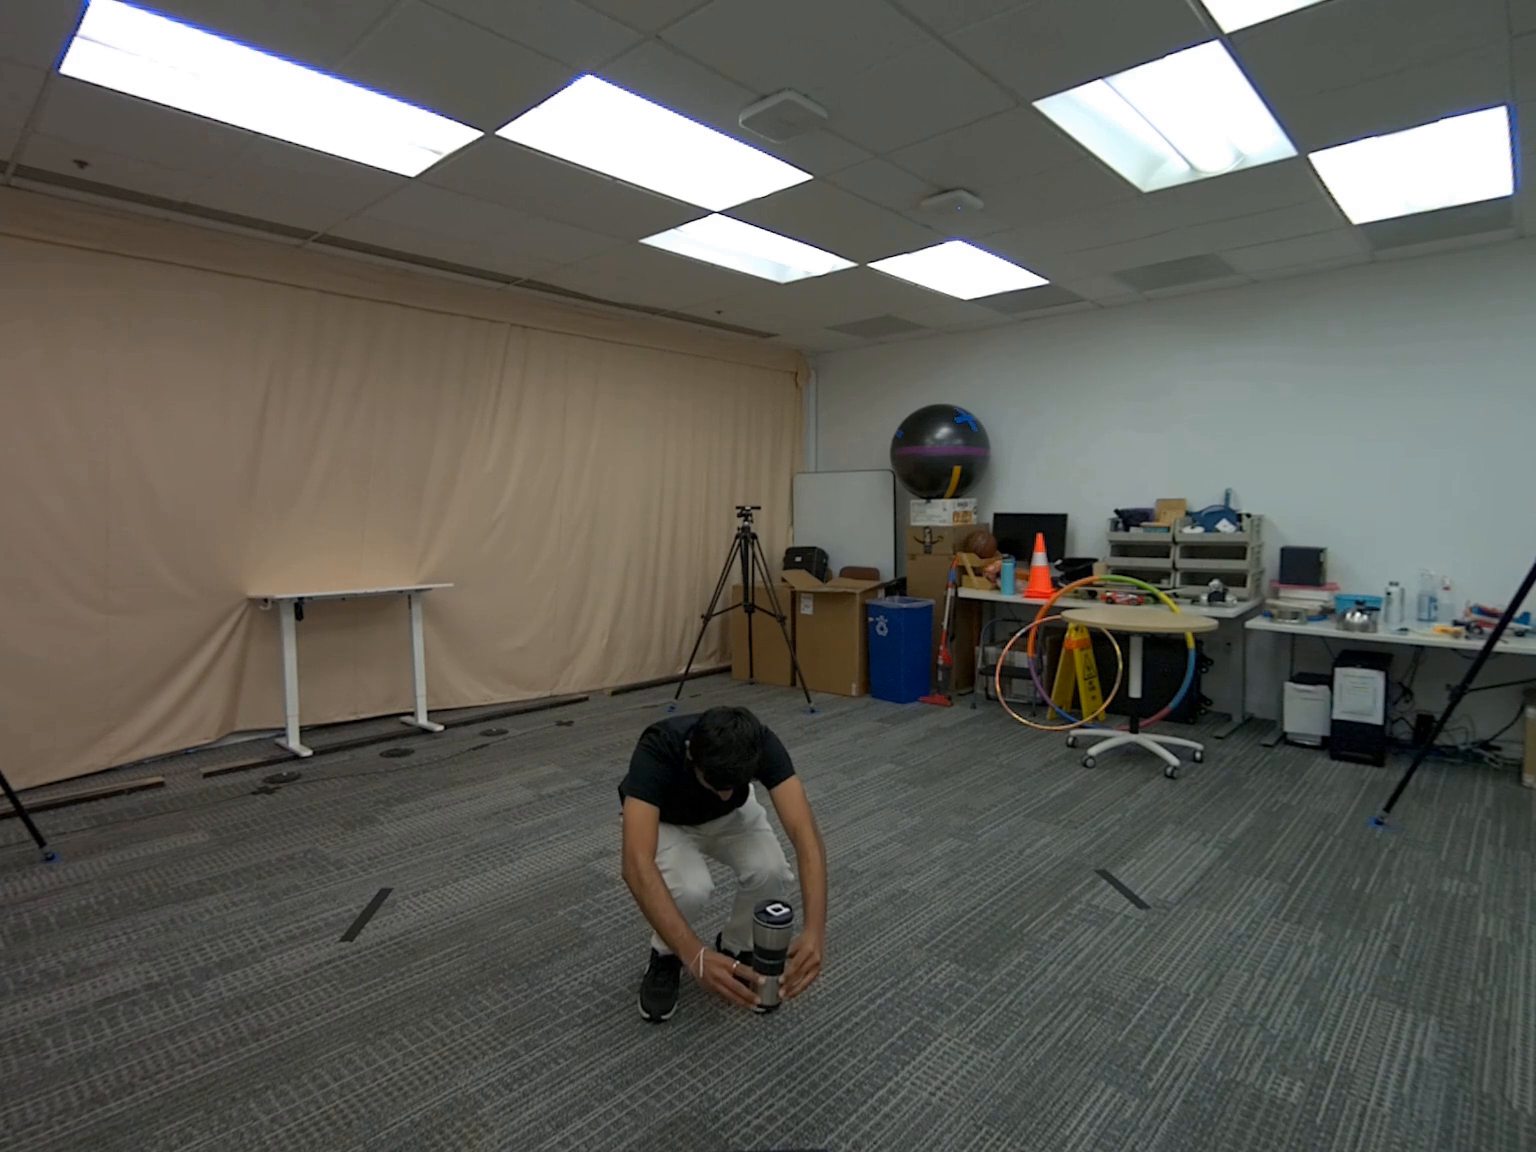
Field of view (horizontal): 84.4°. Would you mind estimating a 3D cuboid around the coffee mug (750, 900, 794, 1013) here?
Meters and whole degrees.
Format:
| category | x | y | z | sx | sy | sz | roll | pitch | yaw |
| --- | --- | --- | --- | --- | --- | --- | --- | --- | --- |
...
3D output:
| category | x | y | z | sx | sy | sz | roll | pitch | yaw |
| --- | --- | --- | --- | --- | --- | --- | --- | --- | --- |
| coffee mug | 0.019 | 0.803 | 1.818 | 0.091 | 0.202 | 0.118 | 5 | 9 | 38 |
